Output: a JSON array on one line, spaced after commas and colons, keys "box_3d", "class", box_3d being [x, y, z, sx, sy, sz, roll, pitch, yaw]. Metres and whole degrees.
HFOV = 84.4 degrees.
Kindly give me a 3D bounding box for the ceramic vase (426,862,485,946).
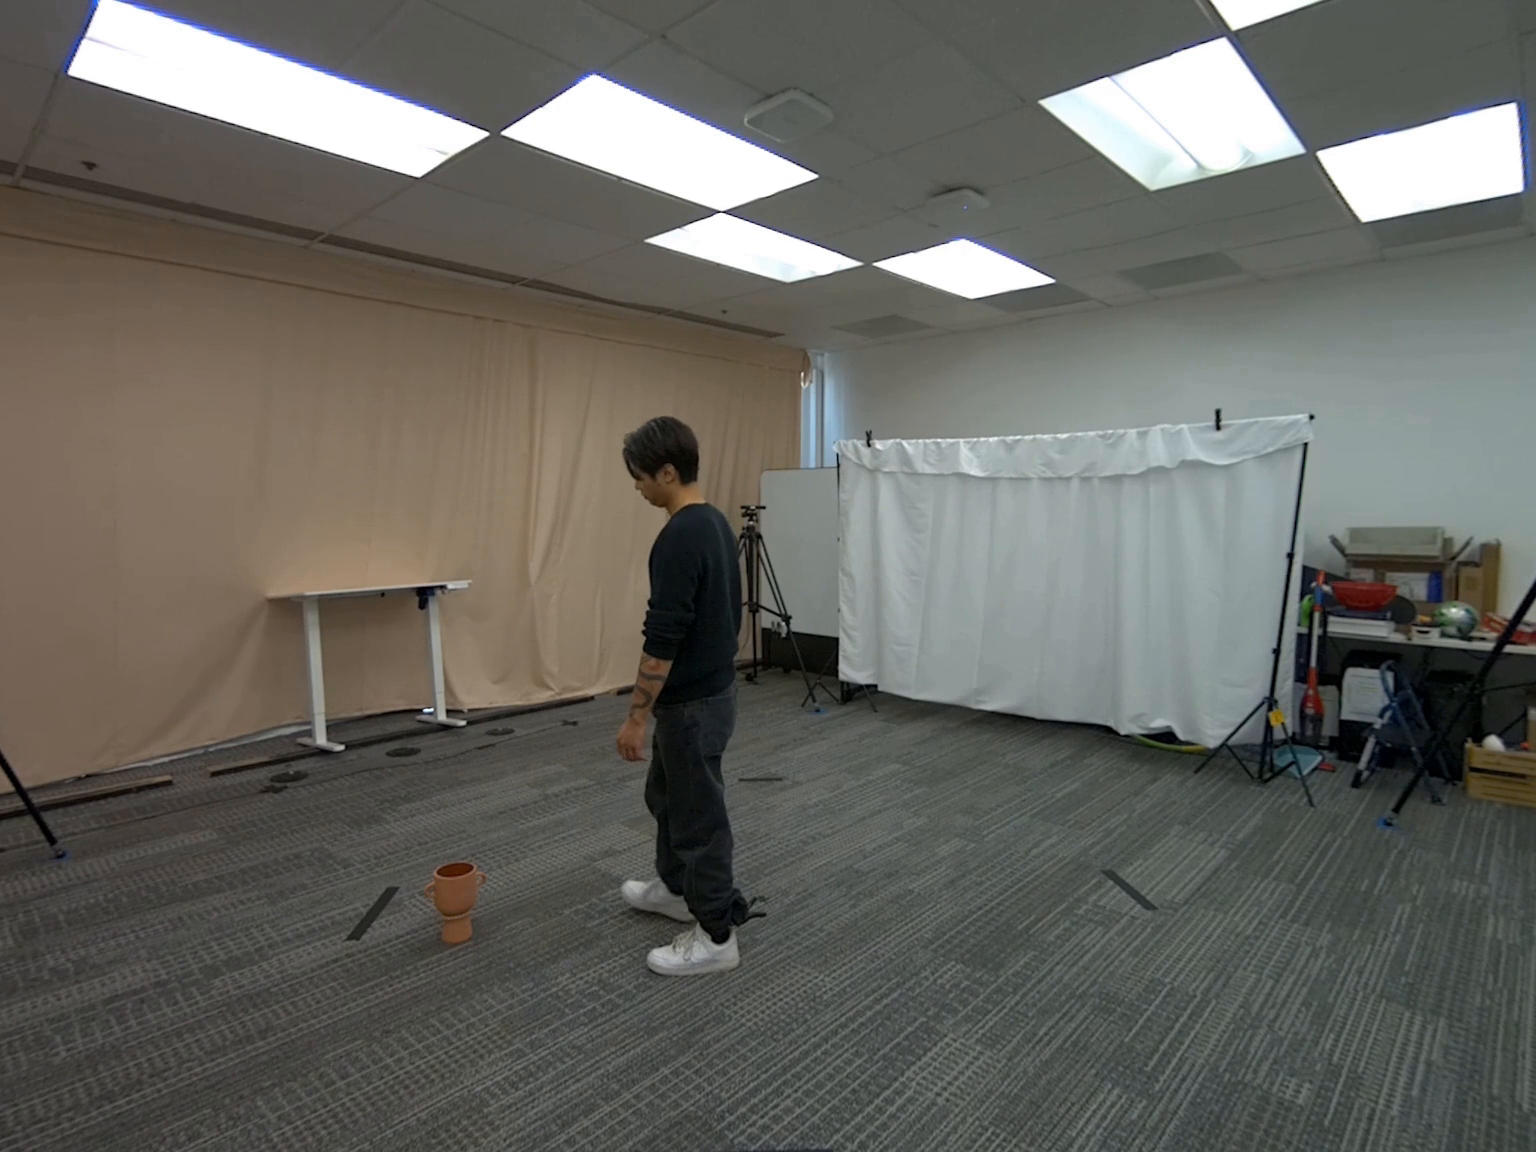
[{"box_3d": [-1.015, 1.063, 2.730, 0.160, 0.219, 0.134, 0, 2, 5], "class": "ceramic vase"}]
